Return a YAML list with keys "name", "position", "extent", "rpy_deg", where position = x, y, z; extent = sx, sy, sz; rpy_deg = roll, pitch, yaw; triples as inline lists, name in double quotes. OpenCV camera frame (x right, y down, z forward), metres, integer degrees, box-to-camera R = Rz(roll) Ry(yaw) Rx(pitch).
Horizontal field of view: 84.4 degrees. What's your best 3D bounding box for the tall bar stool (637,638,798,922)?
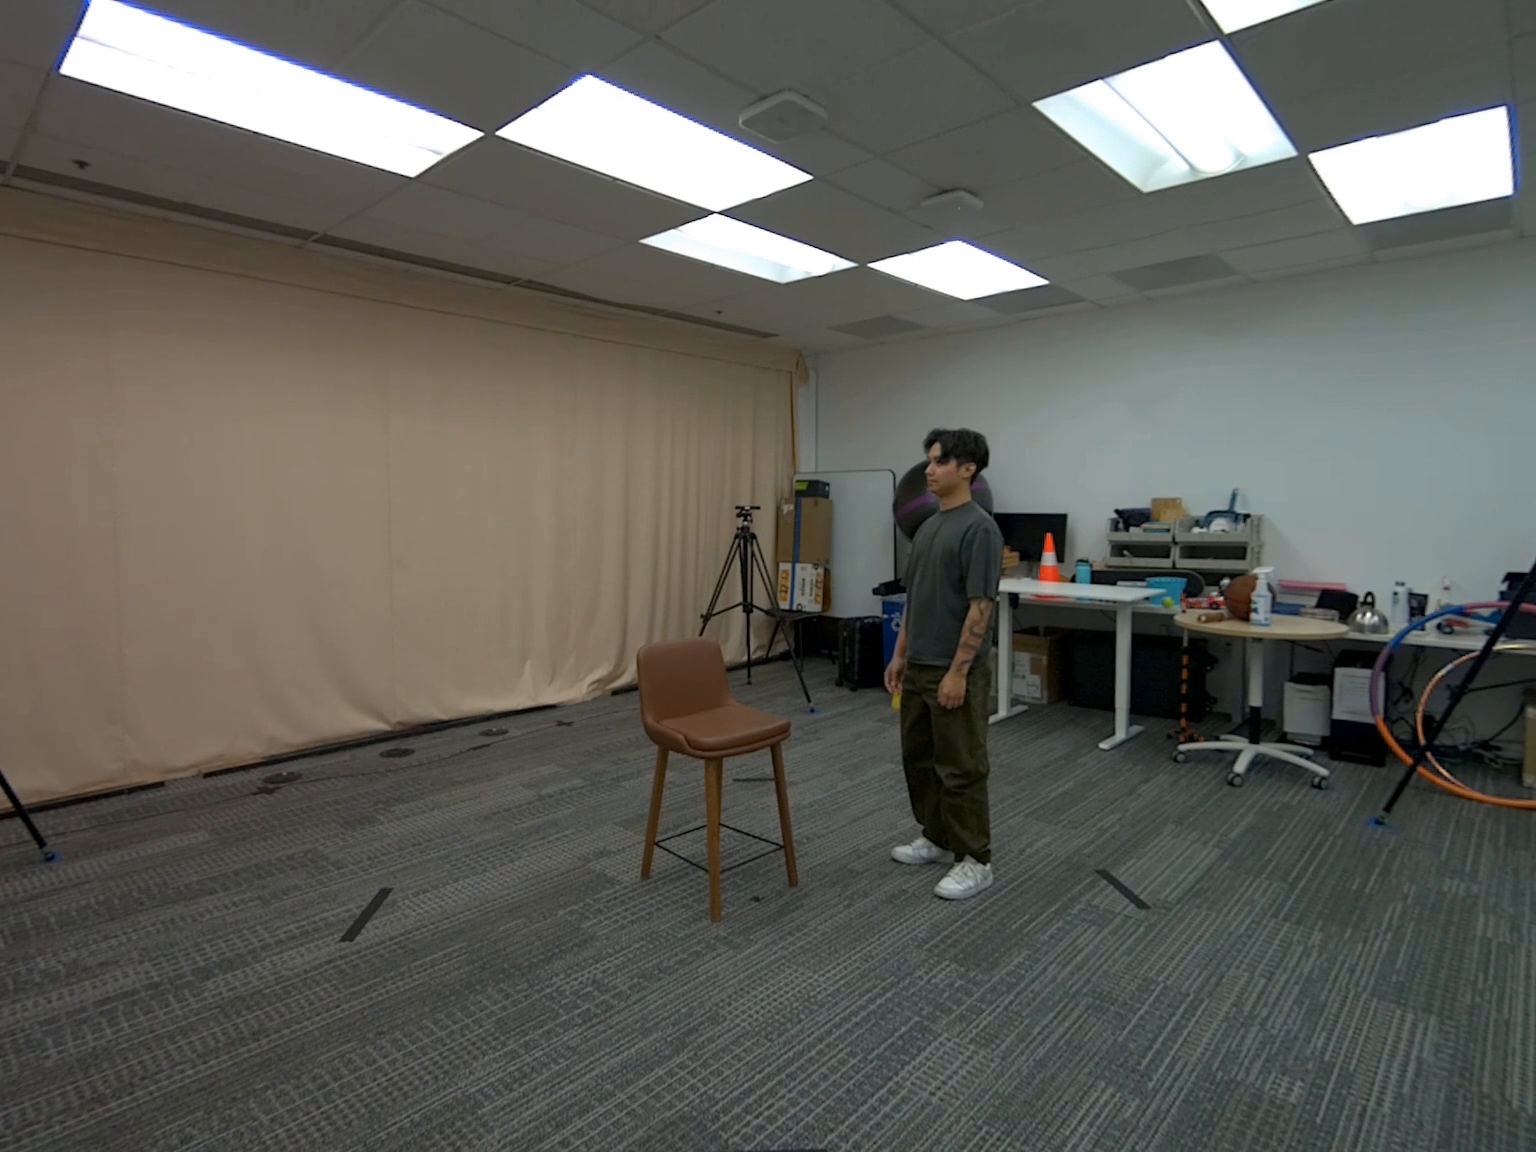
- name: "tall bar stool"
  position: [-0.194, 0.703, 3.098]
  extent: [0.442, 0.889, 0.483]
  rpy_deg: [-3, 2, -43]
